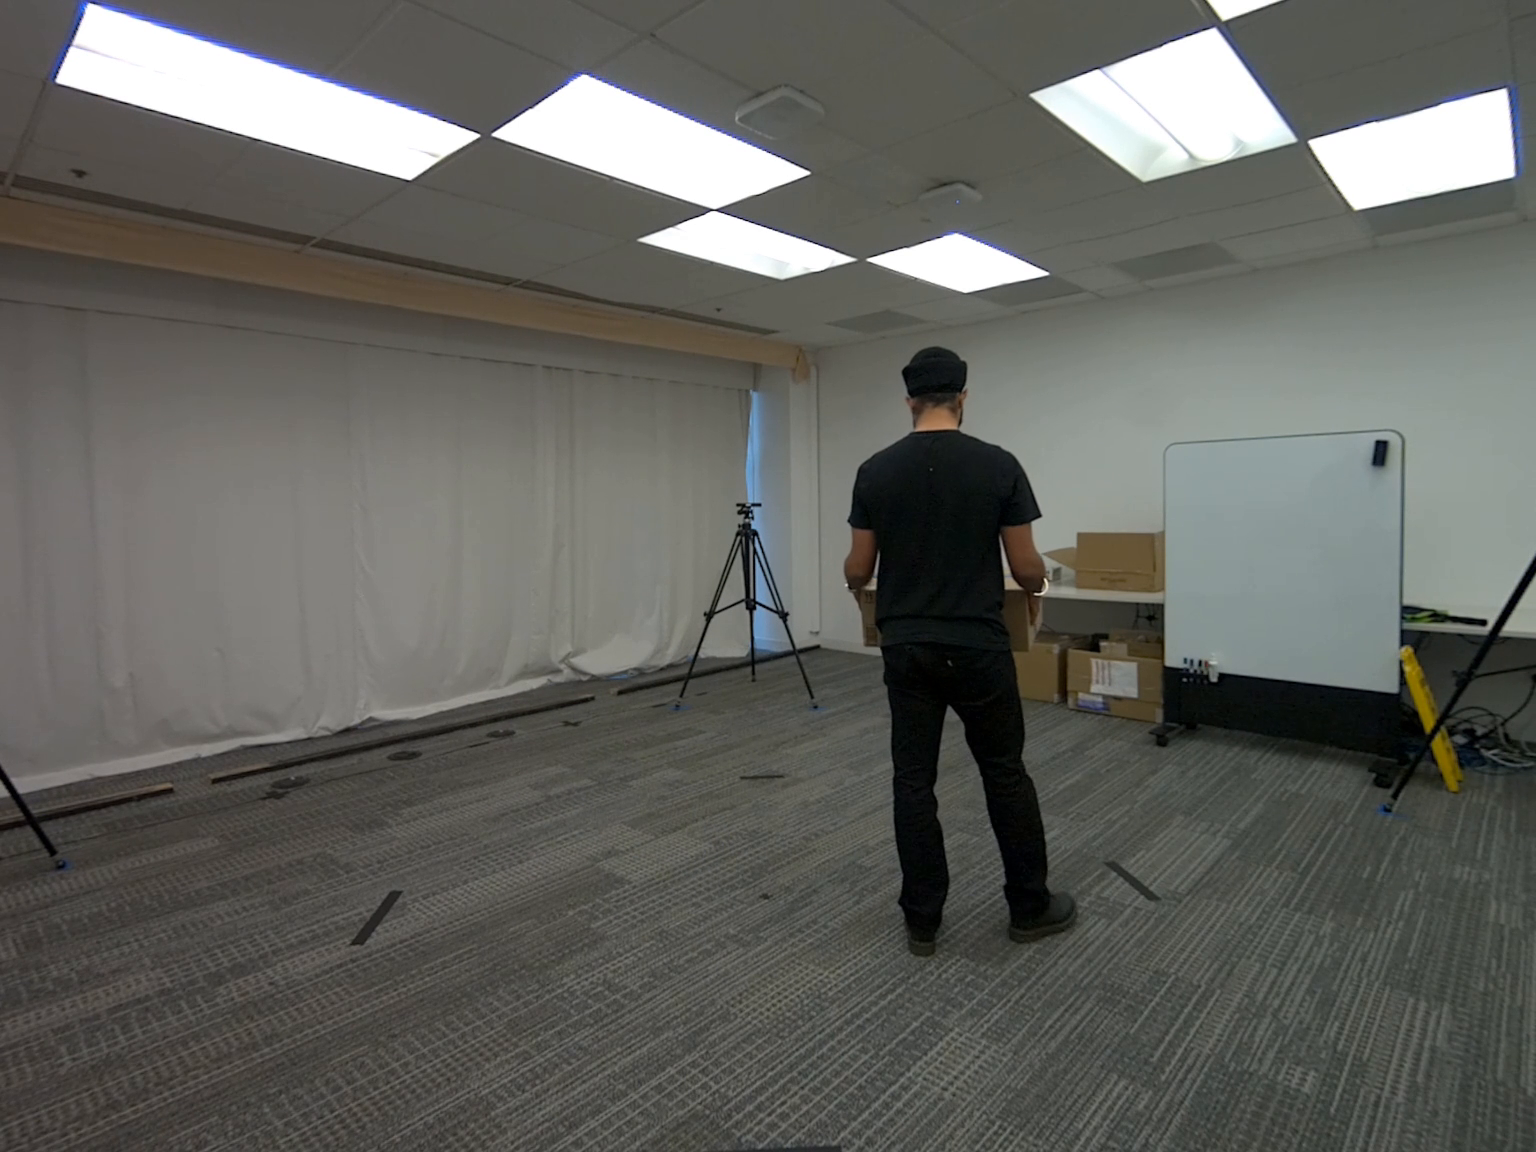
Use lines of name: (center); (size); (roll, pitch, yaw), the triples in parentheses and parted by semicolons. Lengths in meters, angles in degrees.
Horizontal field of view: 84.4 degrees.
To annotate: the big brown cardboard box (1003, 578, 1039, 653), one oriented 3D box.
big brown cardboard box: (0.677, 0.108, 3.069); (0.604, 0.232, 0.410); (0, 10, 25)
